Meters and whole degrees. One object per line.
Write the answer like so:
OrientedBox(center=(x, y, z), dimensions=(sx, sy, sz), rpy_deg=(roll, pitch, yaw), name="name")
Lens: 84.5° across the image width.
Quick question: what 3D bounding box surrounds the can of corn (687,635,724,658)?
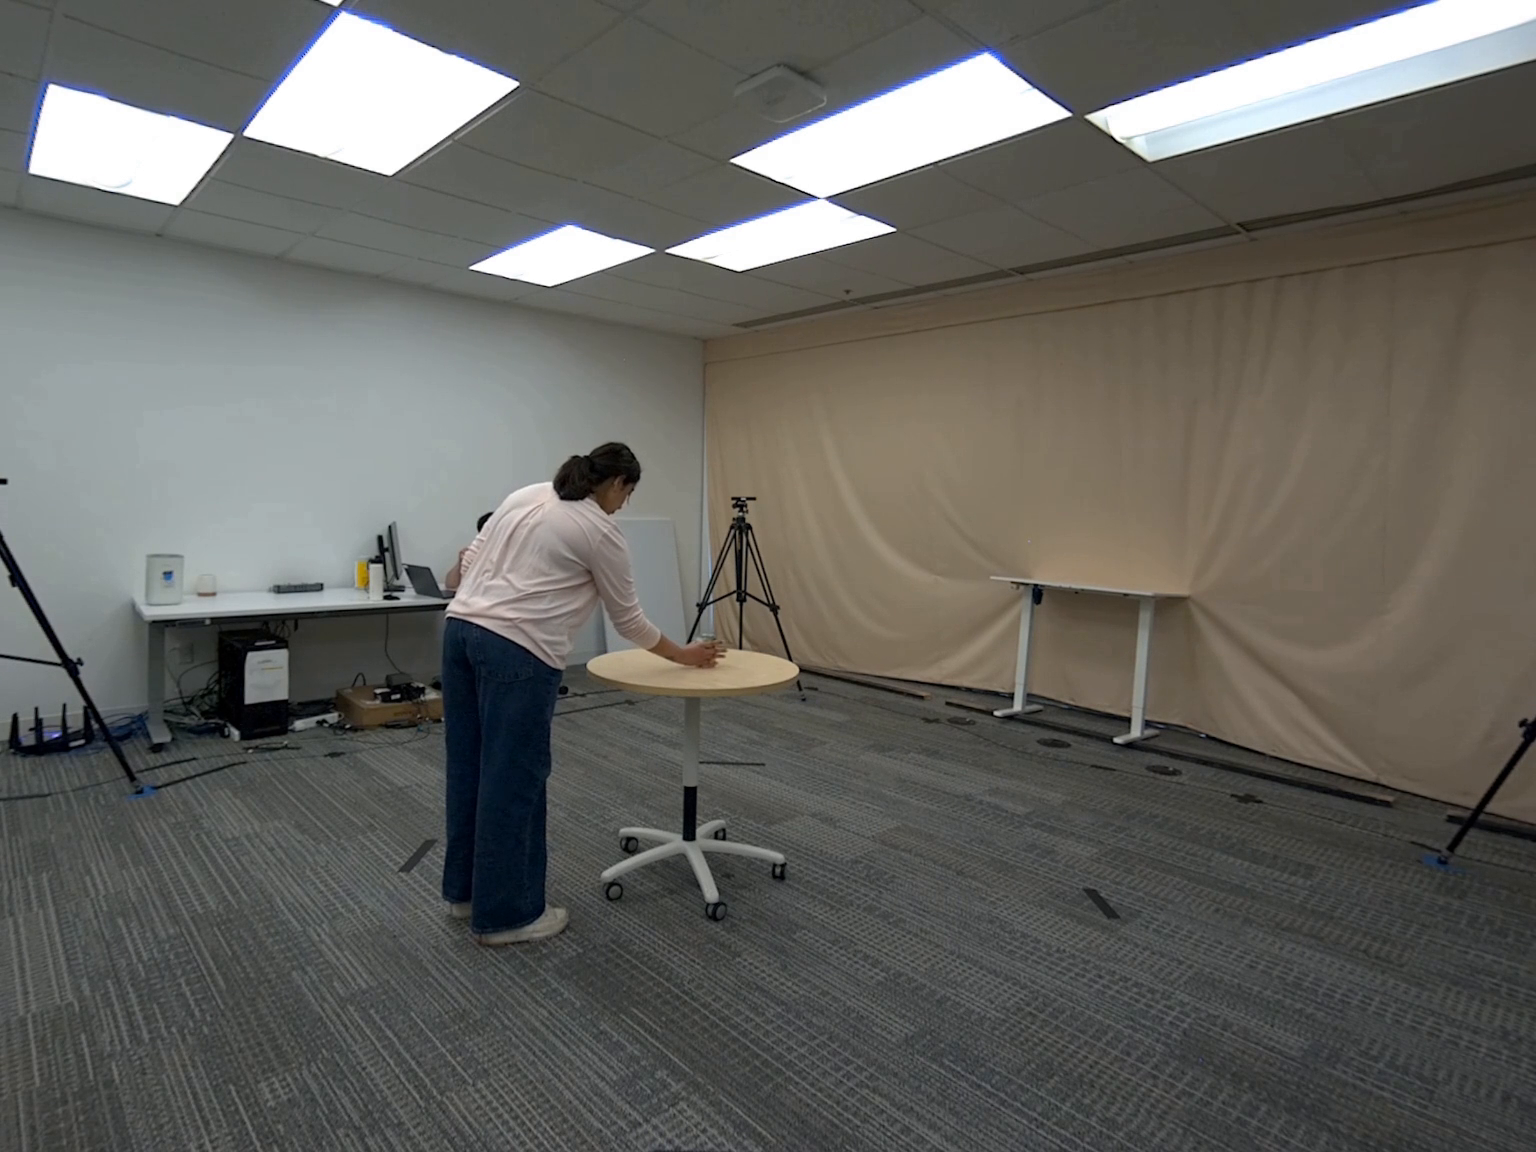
OrientedBox(center=(-0.229, 0.270, 3.042), dimensions=(0.074, 0.111, 0.074), rpy_deg=(2, 4, -2), name="can of corn")
